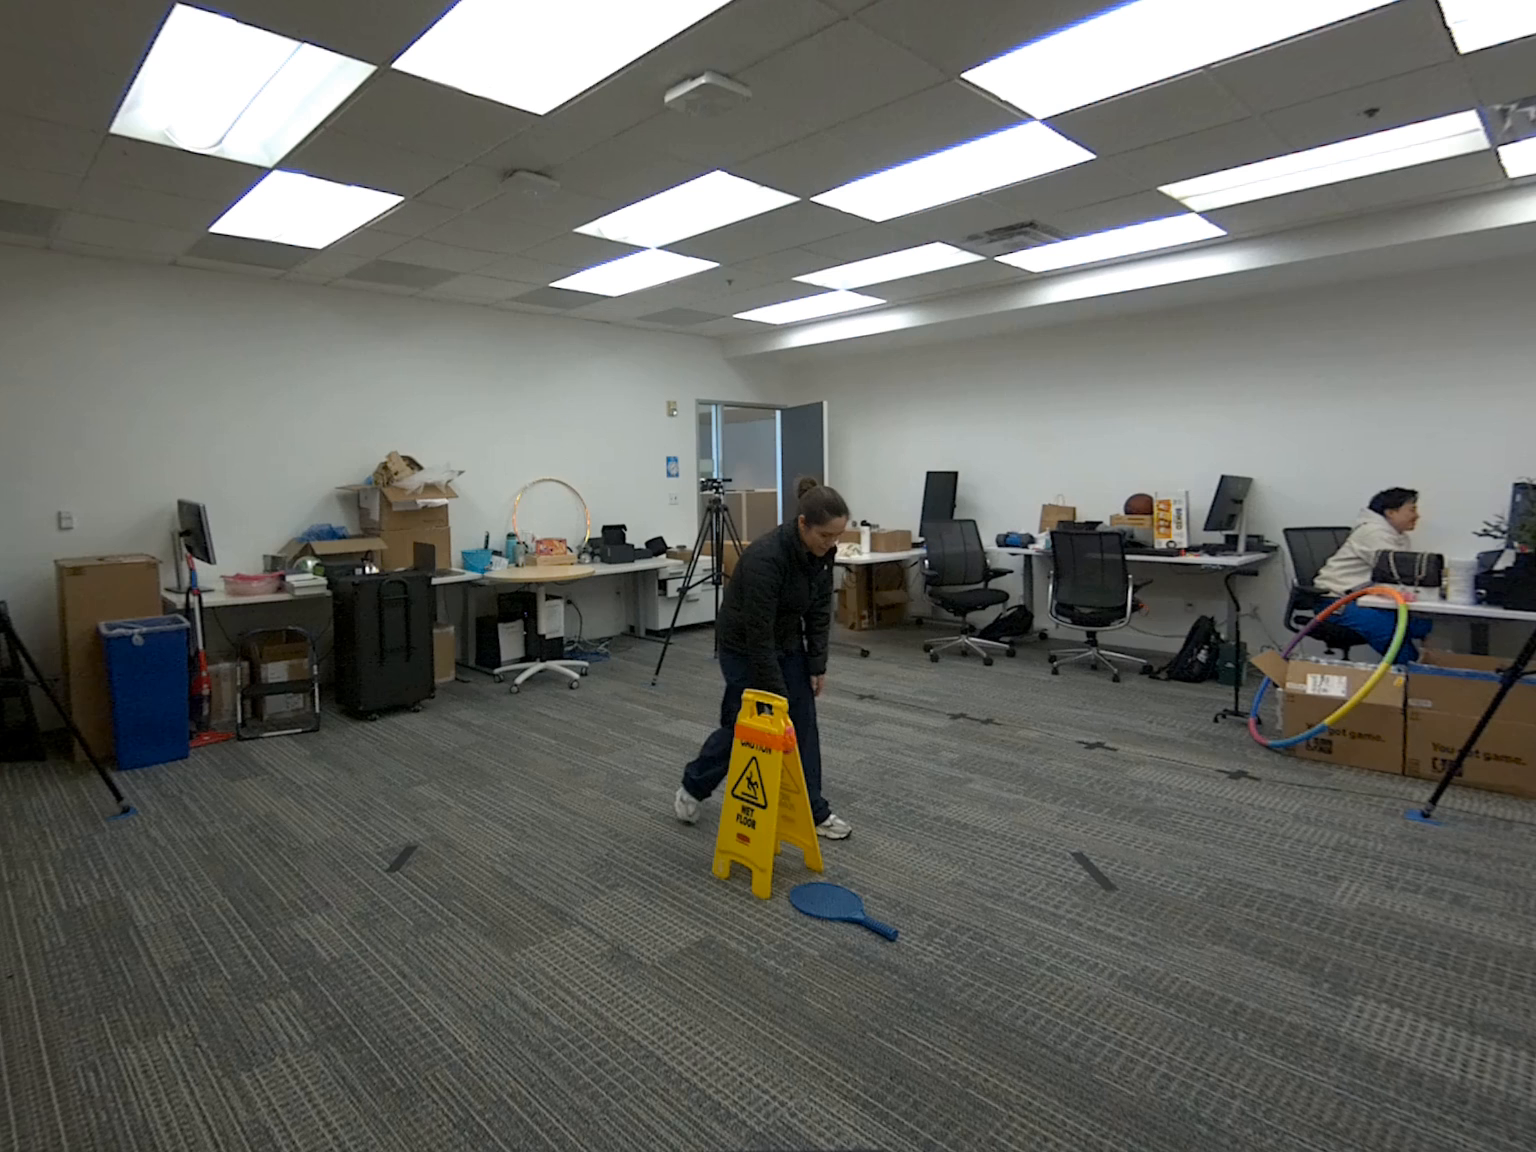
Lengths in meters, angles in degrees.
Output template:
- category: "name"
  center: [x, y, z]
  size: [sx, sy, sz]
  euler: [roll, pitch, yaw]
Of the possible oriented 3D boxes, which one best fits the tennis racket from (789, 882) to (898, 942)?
- category: "tennis racket"
  center: [0.240, 1.071, 2.758]
  size: [0.208, 0.031, 0.446]
  euler: [-6, 7, -39]
